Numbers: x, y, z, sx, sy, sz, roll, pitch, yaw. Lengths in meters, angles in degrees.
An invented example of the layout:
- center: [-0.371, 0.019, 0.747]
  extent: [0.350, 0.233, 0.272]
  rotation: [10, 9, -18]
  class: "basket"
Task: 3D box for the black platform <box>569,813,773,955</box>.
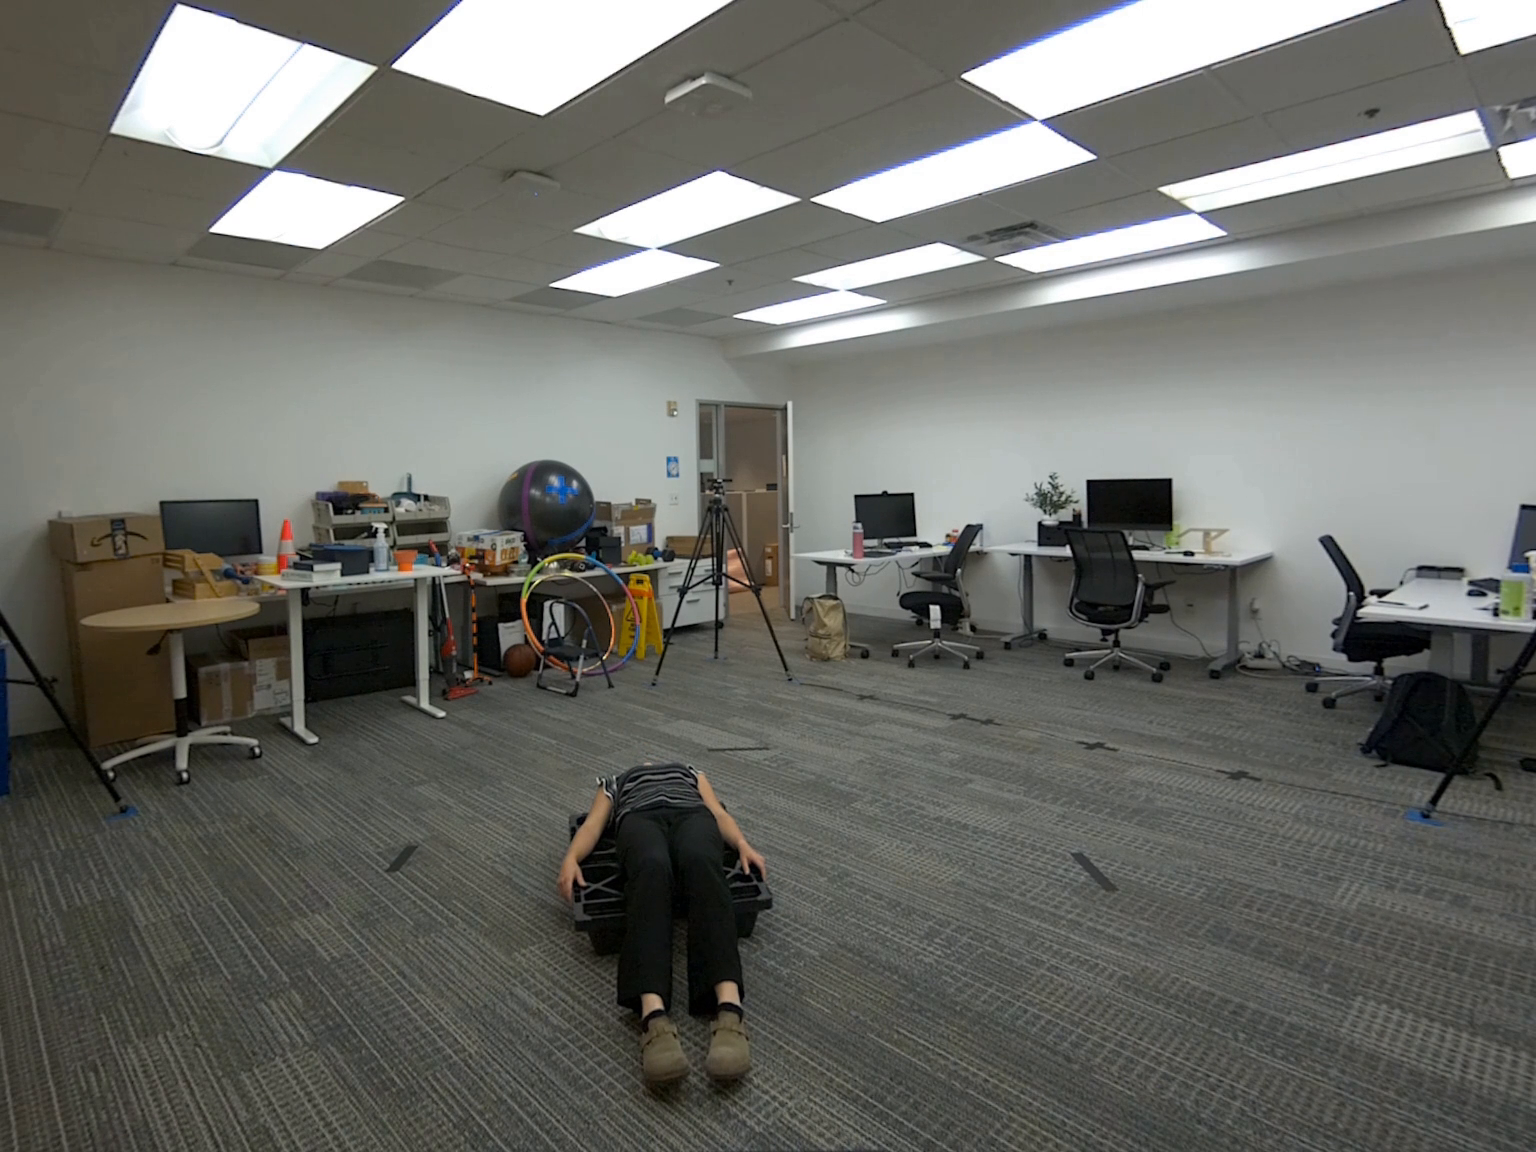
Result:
- center: [-0.373, 1.010, 2.906]
  extent: [0.598, 0.142, 0.820]
  rotation: [-1, 7, -14]
  class: "black platform"
